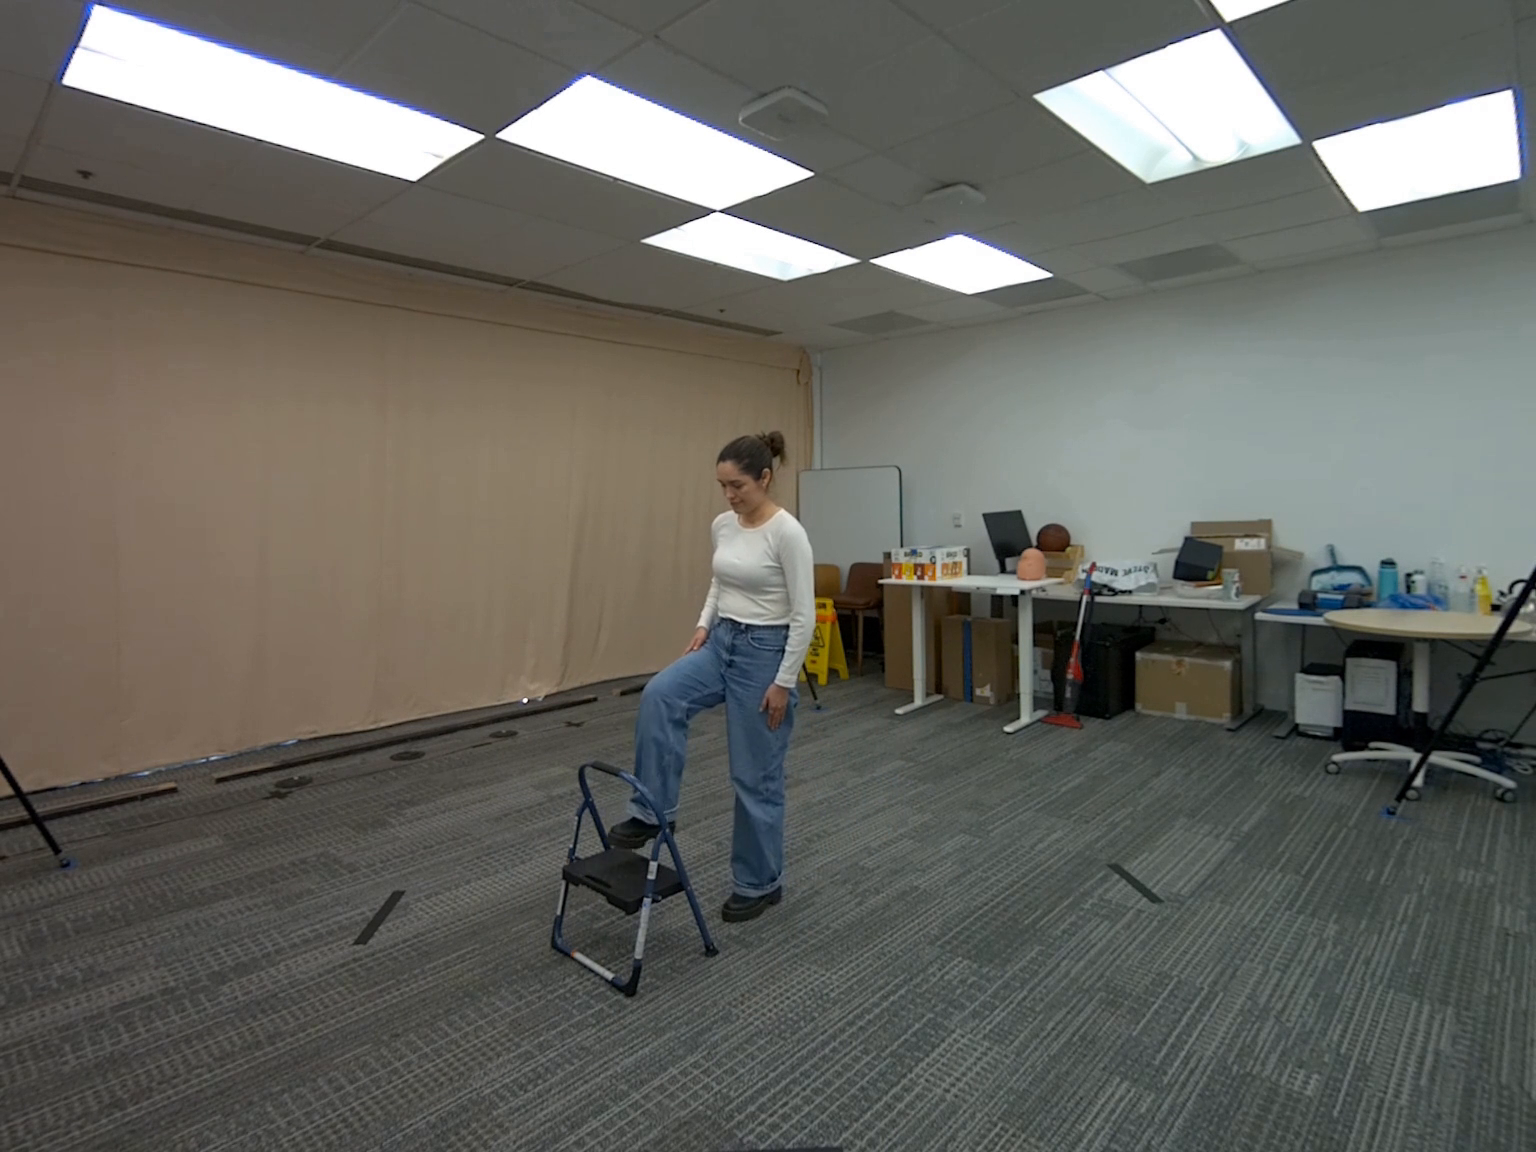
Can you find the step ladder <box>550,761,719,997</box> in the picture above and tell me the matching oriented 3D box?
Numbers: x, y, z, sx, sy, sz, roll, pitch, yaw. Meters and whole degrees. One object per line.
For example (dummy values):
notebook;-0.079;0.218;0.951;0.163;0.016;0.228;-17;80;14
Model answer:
step ladder;-0.430;0.876;2.634;0.445;0.605;0.339;2;5;43
